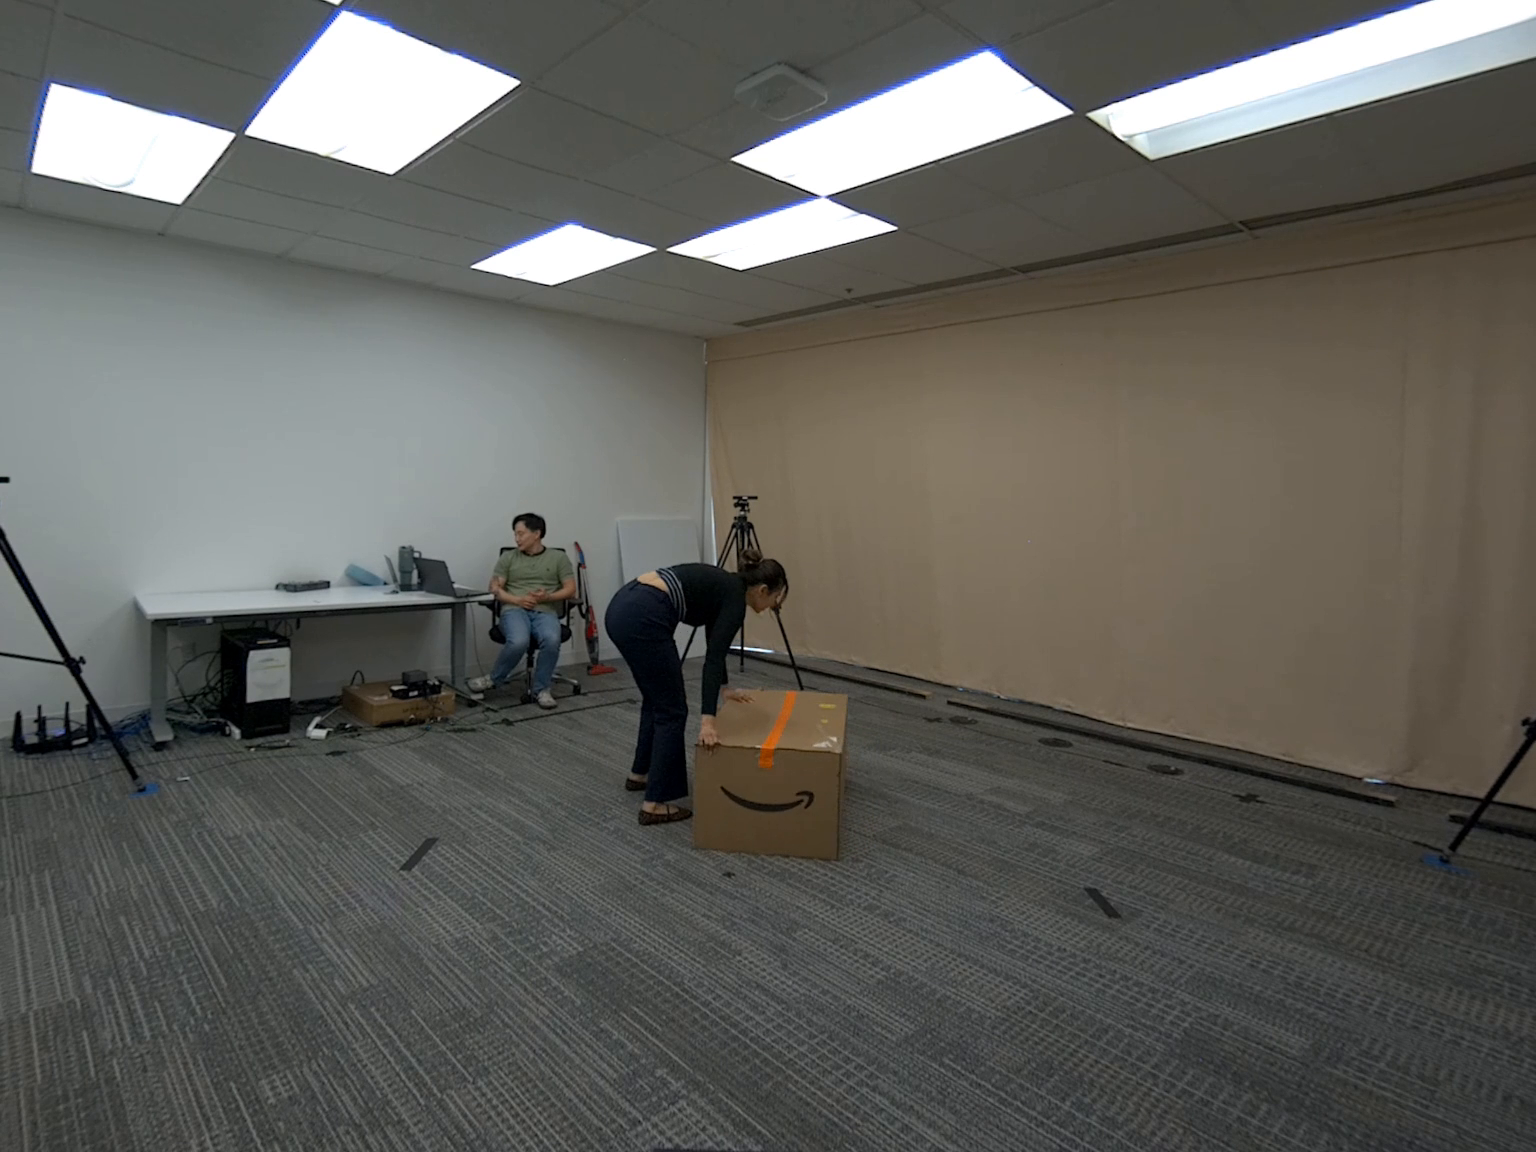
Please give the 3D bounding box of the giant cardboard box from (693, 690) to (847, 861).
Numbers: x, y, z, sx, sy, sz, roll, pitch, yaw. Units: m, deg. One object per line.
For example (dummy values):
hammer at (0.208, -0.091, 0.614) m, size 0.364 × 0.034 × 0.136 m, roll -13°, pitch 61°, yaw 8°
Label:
giant cardboard box at (0.050, 0.832, 3.776) m, size 0.581 × 0.425 × 1.022 m, roll 0°, pitch 5°, yaw 7°
